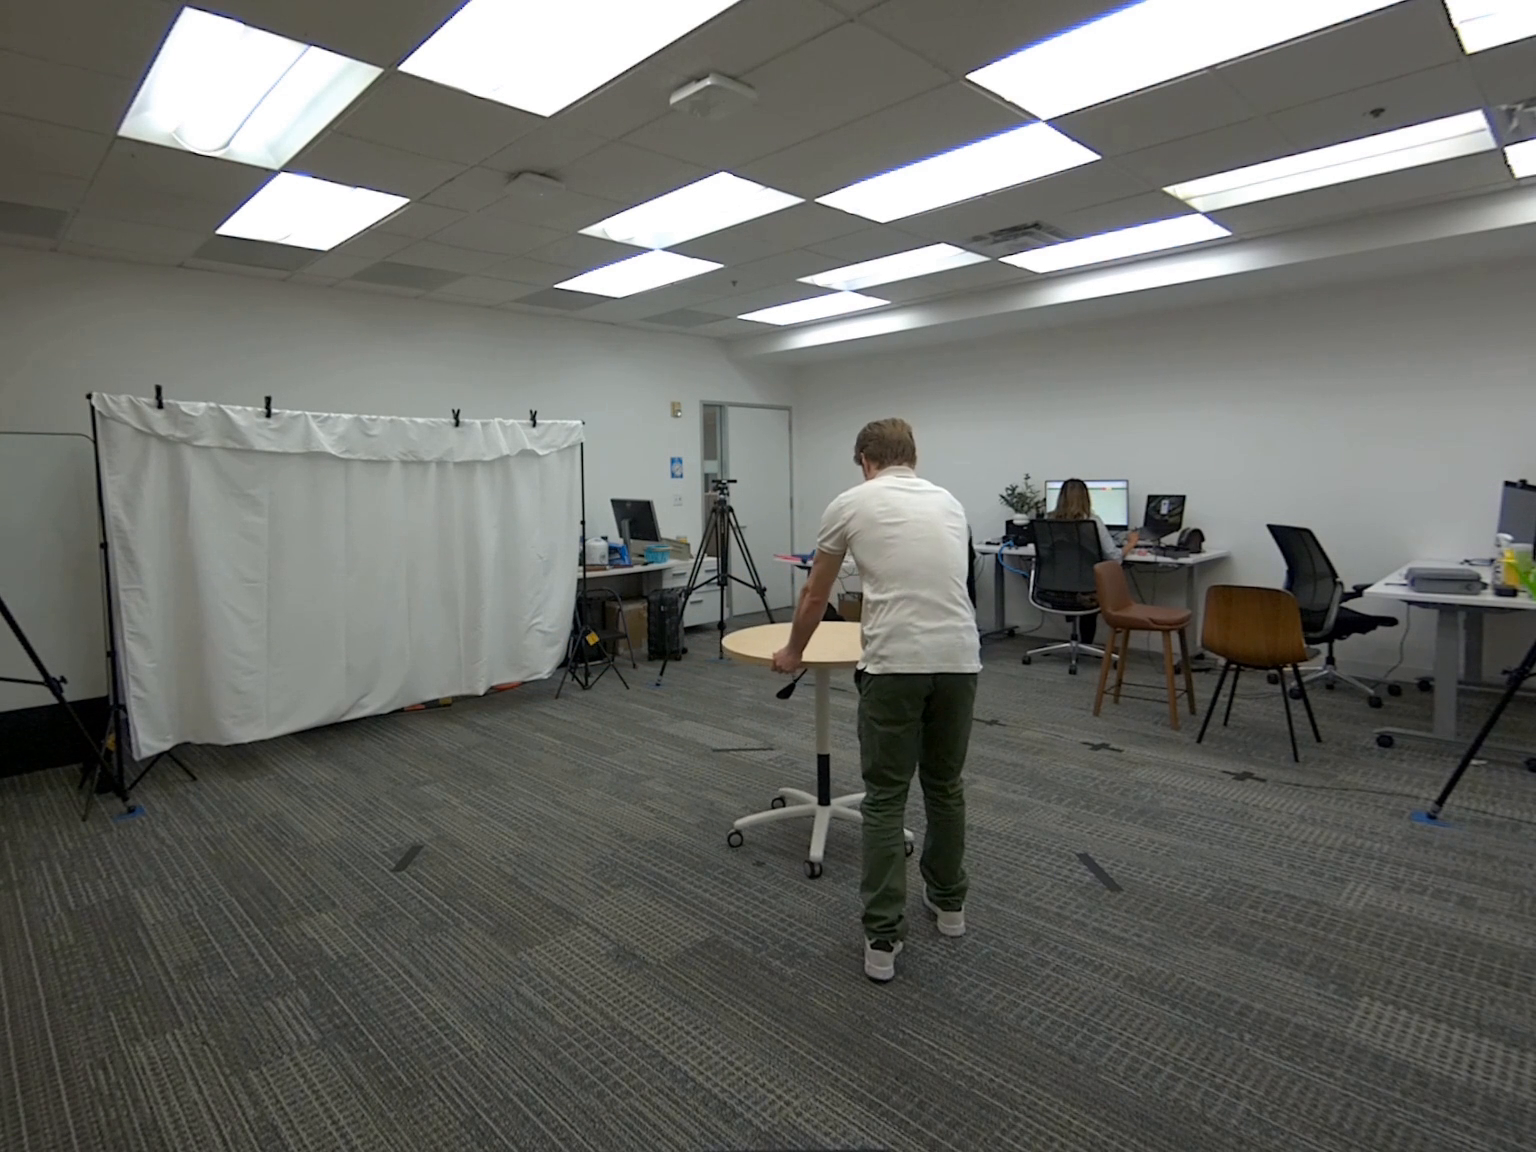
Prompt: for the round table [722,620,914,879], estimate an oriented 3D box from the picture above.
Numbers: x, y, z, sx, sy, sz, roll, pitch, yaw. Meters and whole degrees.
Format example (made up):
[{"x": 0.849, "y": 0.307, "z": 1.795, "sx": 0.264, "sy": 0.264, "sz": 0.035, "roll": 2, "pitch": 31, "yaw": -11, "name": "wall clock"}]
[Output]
[{"x": 0.220, "y": 0.631, "z": 3.270, "sx": 0.784, "sy": 0.783, "sz": 0.789, "roll": -1, "pitch": 5, "yaw": -2, "name": "round table"}]
